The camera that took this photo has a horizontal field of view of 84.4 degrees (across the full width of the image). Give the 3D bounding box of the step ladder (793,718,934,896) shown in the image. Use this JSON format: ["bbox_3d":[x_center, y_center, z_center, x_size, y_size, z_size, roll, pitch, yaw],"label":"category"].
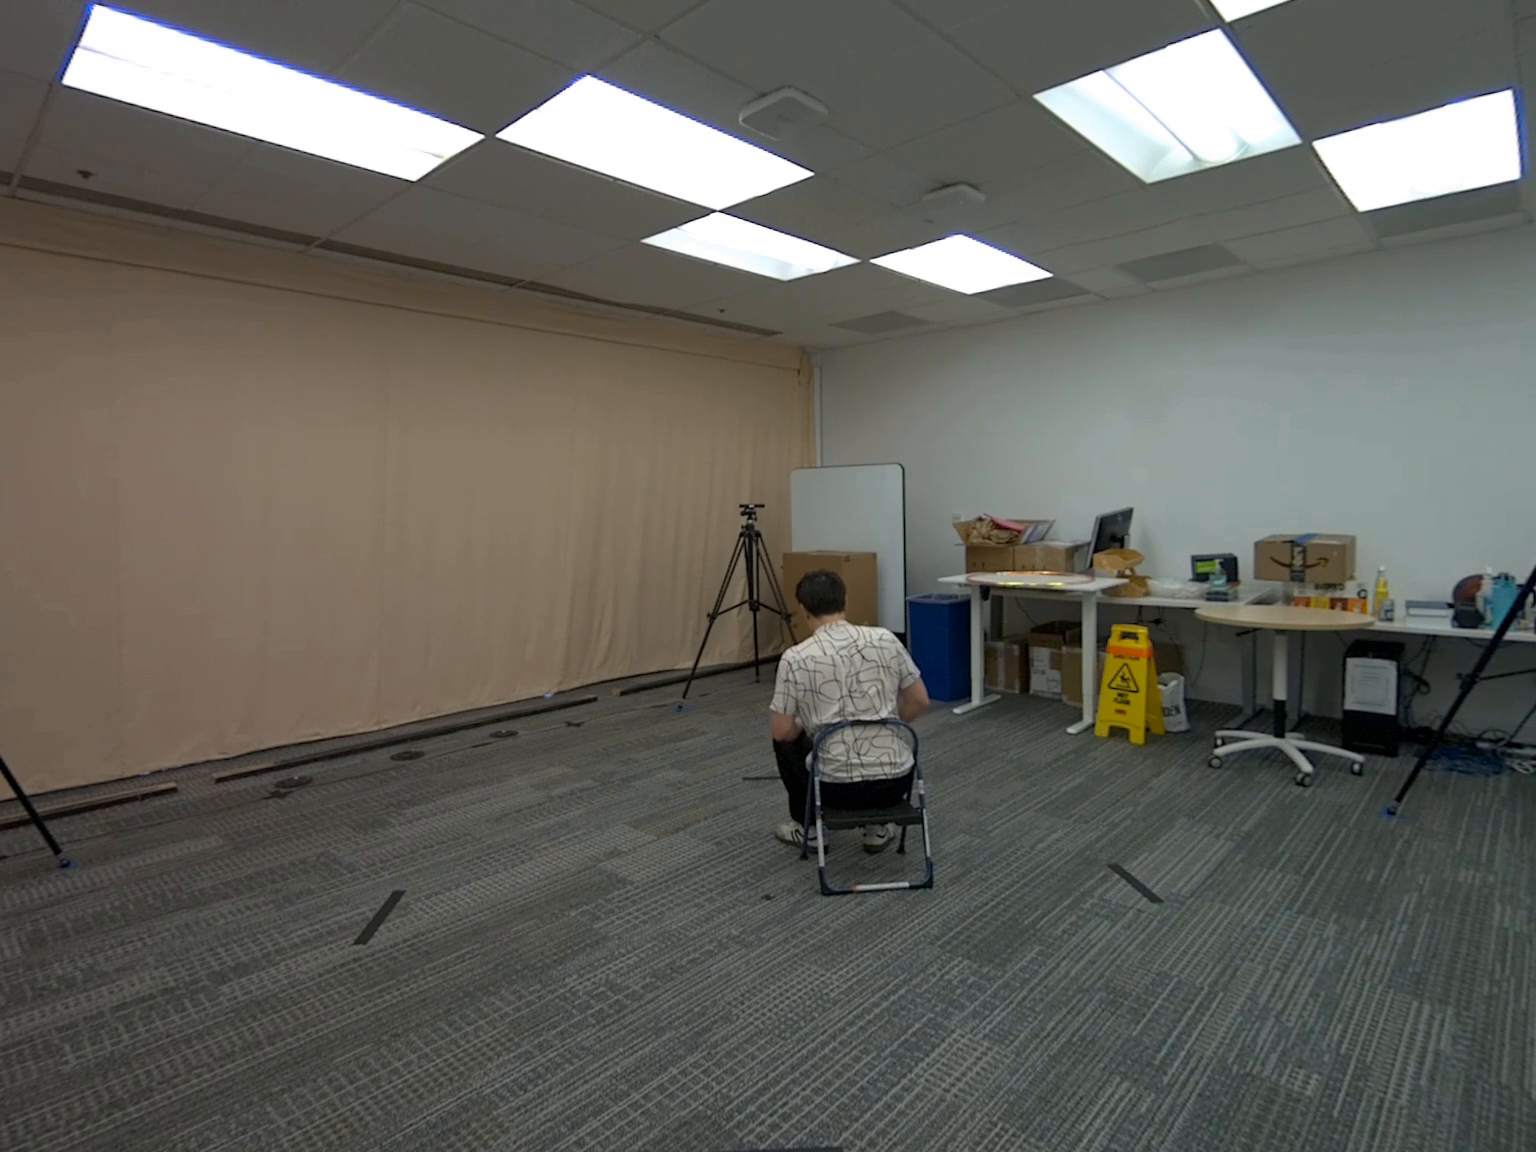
[{"bbox_3d":[0.361,0.819,3.156,0.427,0.605,0.353,-1,3,-9],"label":"step ladder"}]
